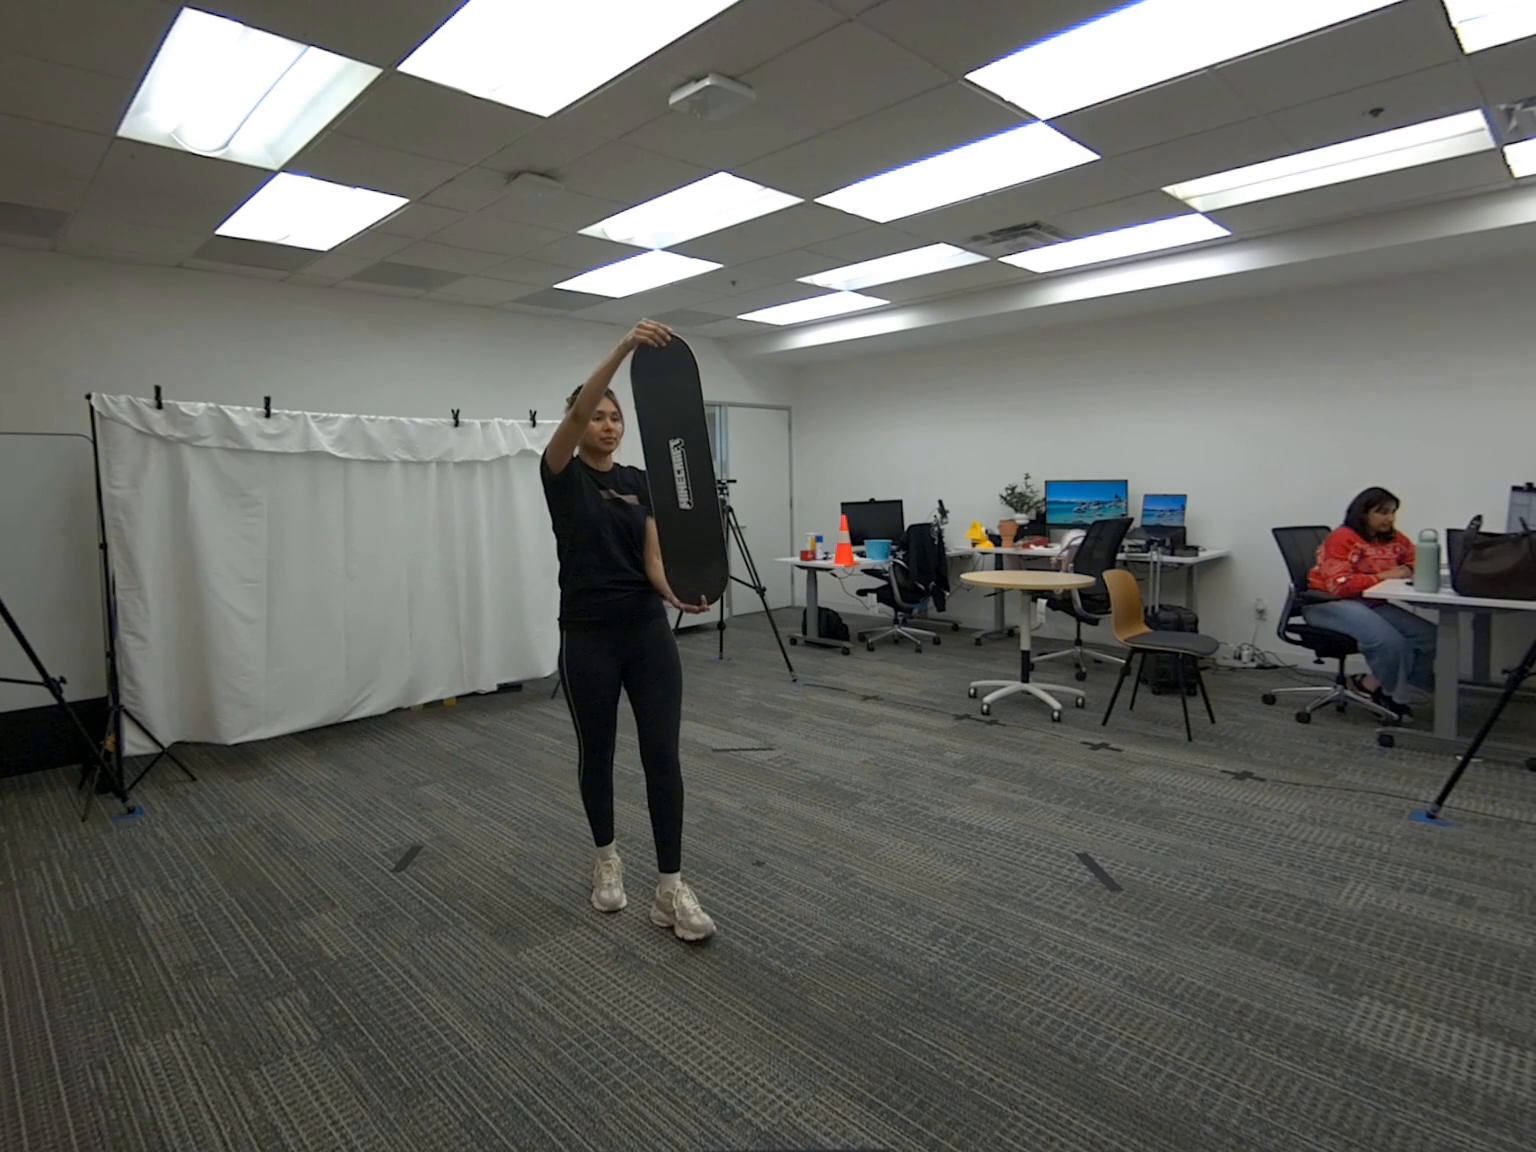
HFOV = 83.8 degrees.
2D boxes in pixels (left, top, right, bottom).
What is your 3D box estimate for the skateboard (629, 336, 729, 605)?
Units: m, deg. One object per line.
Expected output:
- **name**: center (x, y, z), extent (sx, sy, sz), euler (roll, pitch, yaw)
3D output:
- **skateboard**: center (-0.251, -0.296, 2.441), extent (0.192, 0.774, 0.112), euler (-8, 14, -6)
